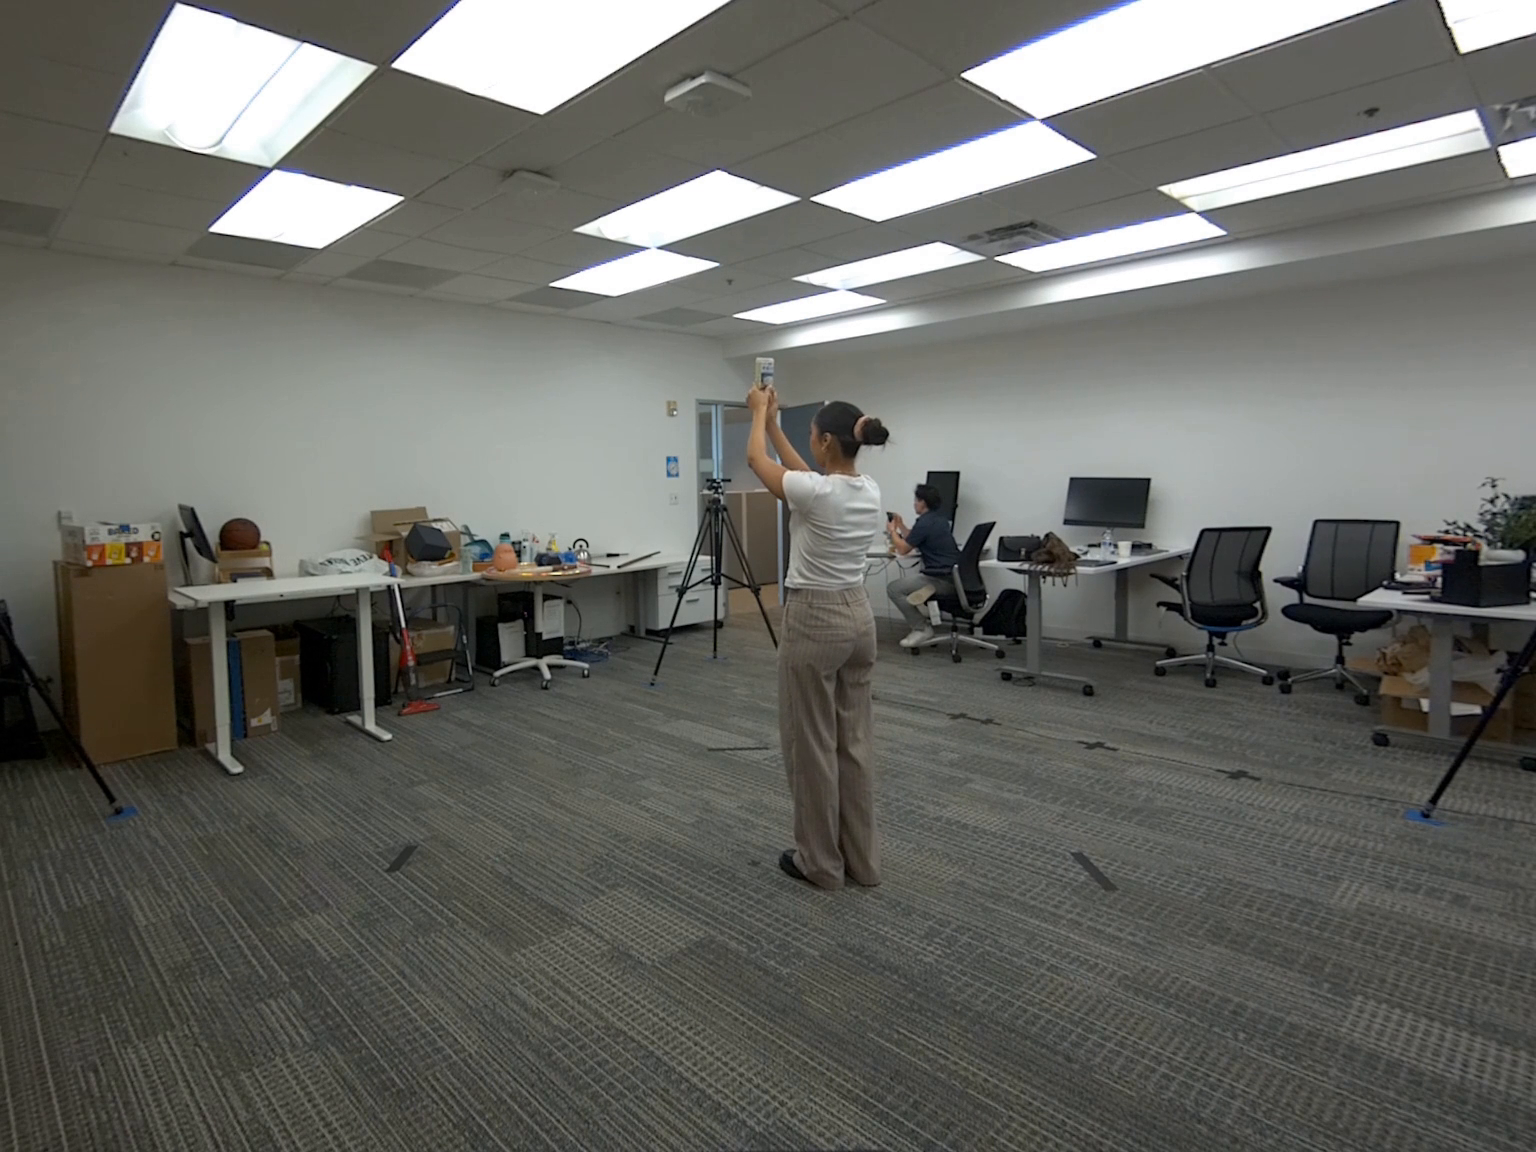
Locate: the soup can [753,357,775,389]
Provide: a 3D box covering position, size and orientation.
[{"bbox_3d":[-0.007,-0.752,3.182,0.067,0.120,0.068,-2,9,-1],"label":"soup can"}]
